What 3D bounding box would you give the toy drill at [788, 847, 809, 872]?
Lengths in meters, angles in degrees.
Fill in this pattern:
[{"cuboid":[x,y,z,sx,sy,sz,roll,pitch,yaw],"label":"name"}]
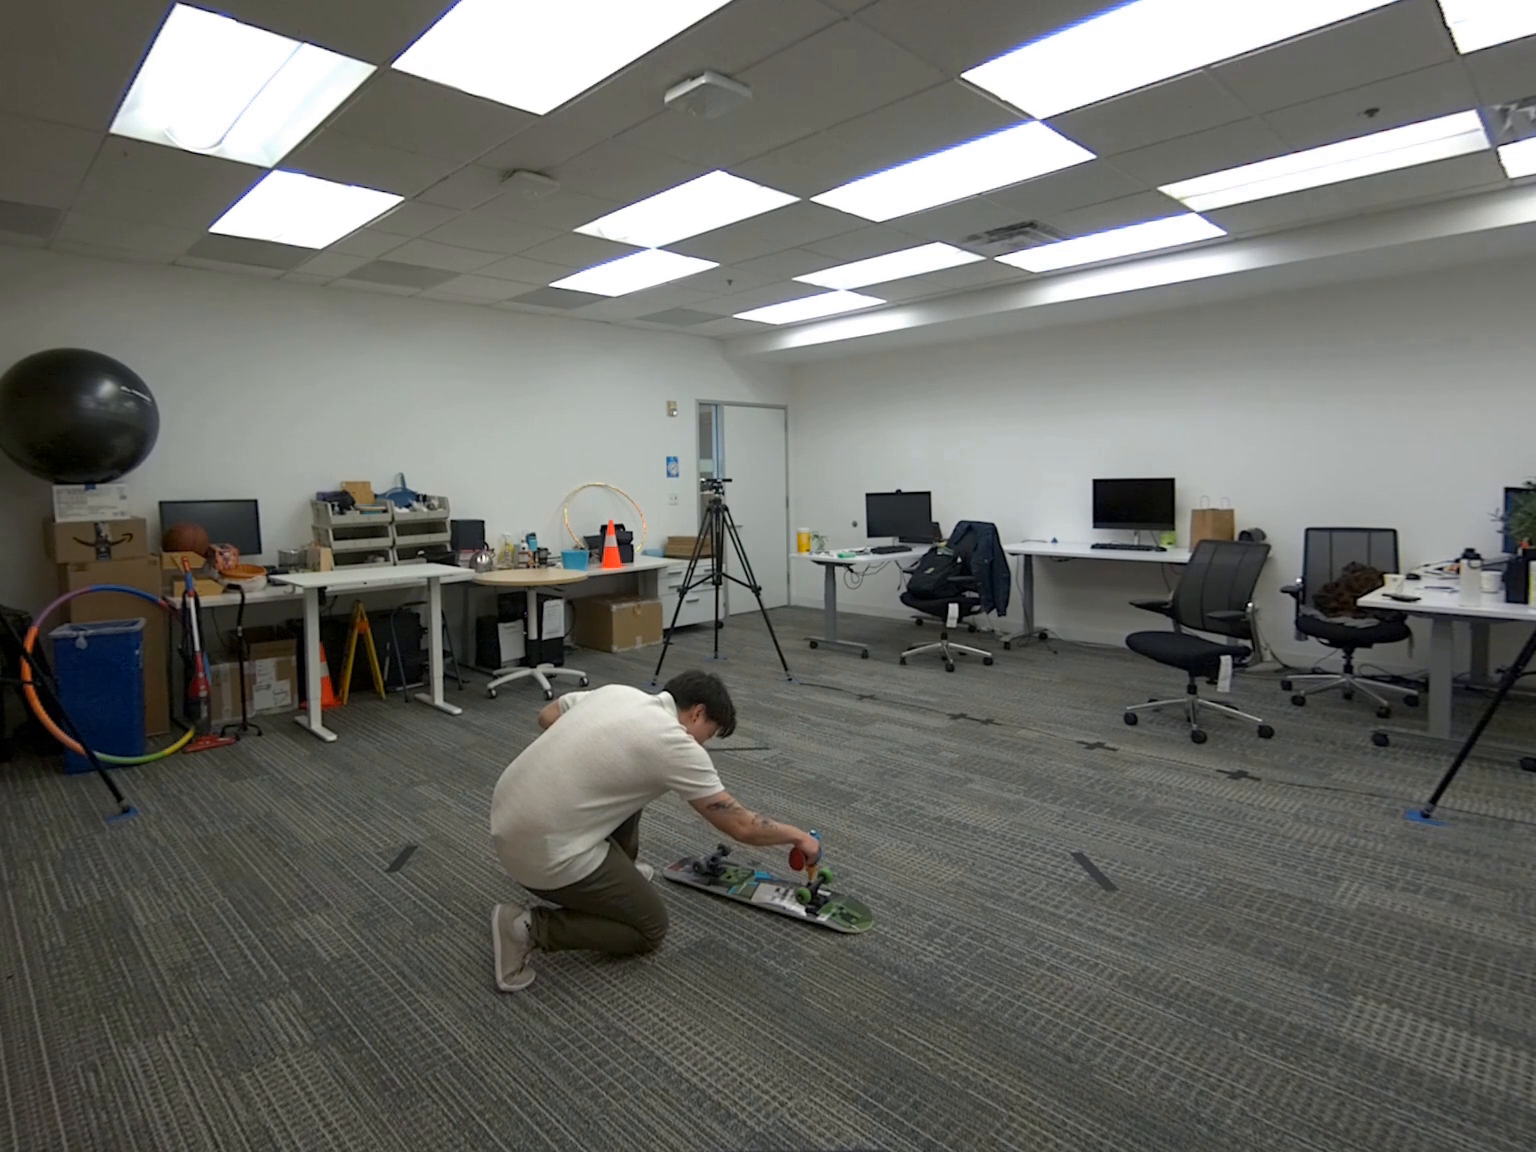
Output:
[{"cuboid":[0.125,0.903,2.708,0.063,0.168,0.143,7,13,30],"label":"toy drill"}]
